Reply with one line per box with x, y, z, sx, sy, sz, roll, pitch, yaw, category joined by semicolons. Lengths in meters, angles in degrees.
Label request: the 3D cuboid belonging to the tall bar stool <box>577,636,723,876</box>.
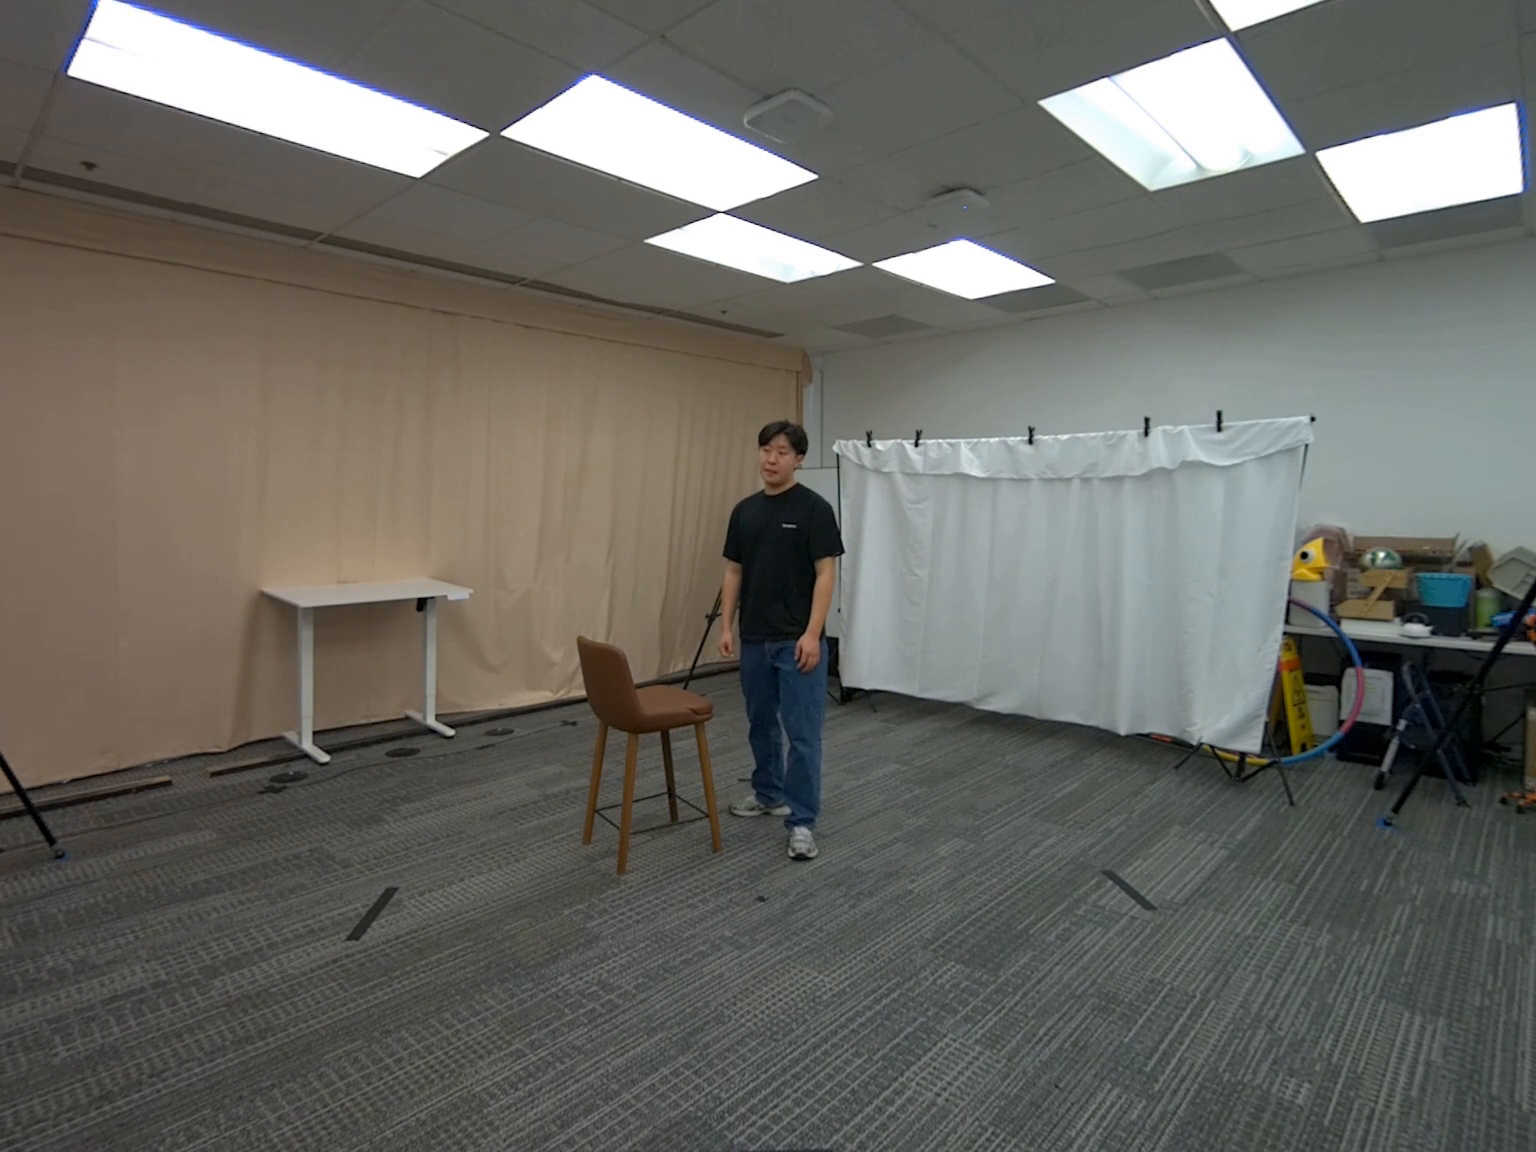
-0.483;0.675;3.431;0.455;0.887;0.470;-4;5;-32;tall bar stool
